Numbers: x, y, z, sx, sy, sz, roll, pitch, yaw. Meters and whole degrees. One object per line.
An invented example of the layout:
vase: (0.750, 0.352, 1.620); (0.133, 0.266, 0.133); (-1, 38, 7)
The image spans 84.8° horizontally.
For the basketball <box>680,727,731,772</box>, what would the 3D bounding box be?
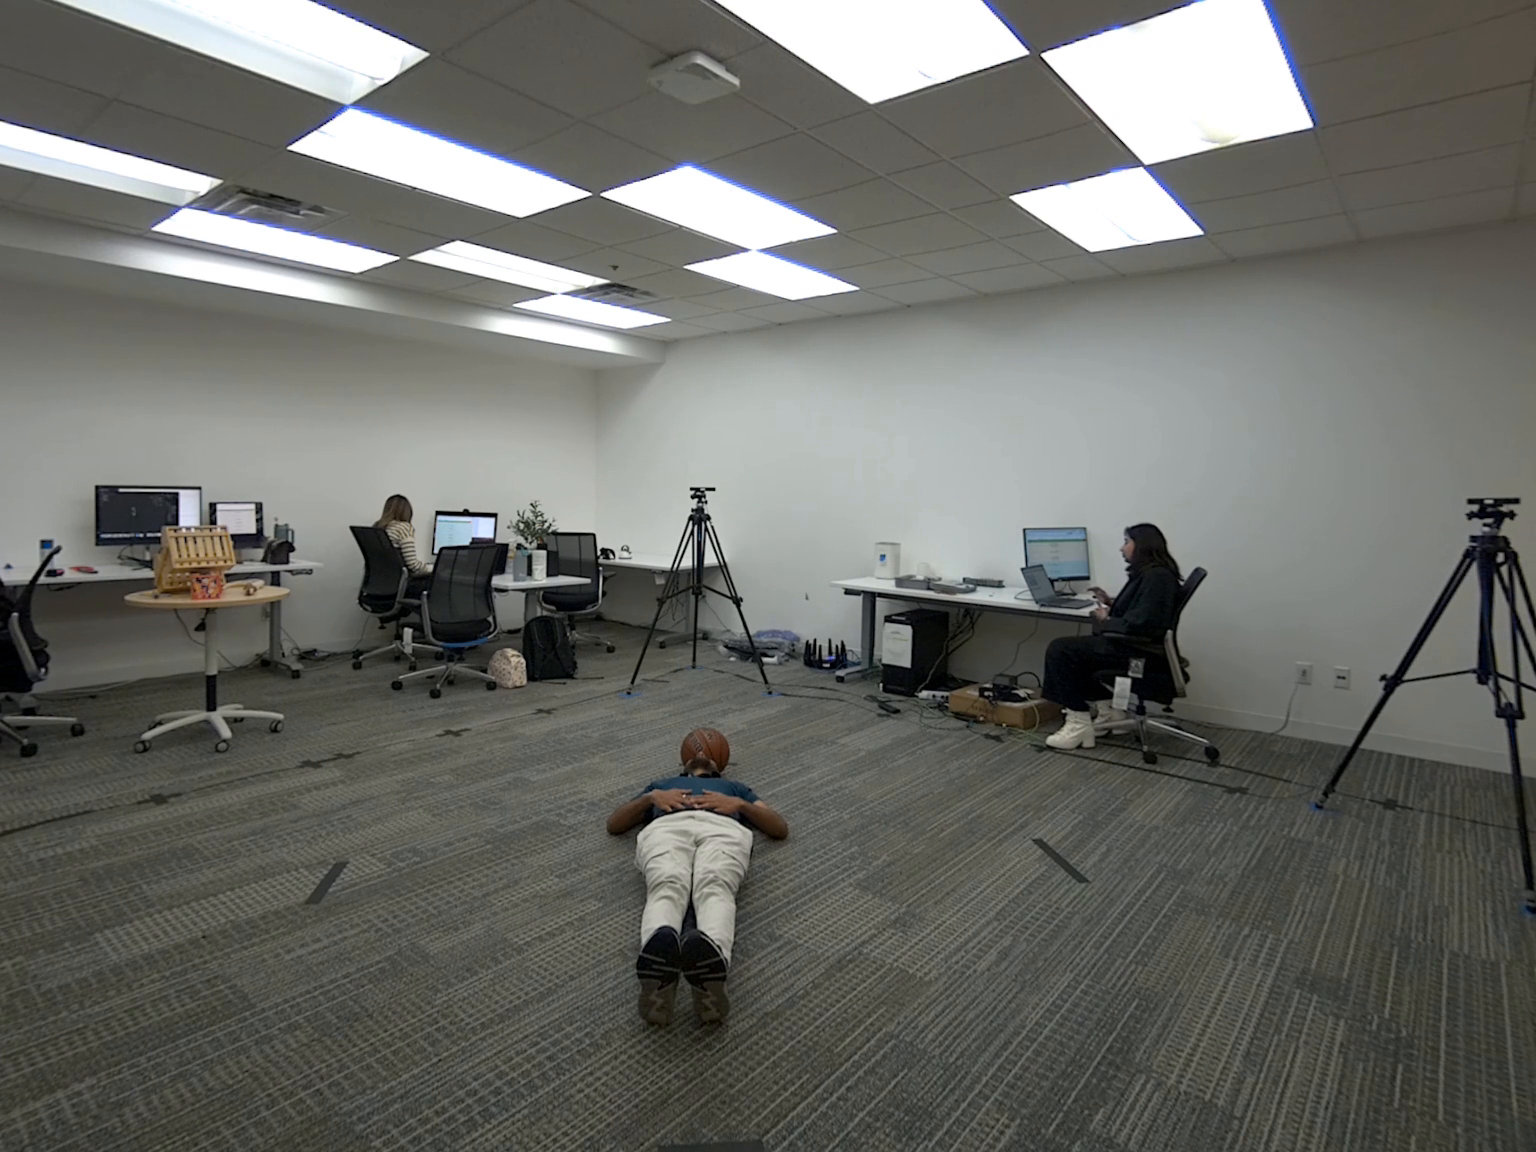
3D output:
basketball: (-0.311, 0.846, 4.104); (0.235, 0.235, 0.237); (1, 4, -2)
